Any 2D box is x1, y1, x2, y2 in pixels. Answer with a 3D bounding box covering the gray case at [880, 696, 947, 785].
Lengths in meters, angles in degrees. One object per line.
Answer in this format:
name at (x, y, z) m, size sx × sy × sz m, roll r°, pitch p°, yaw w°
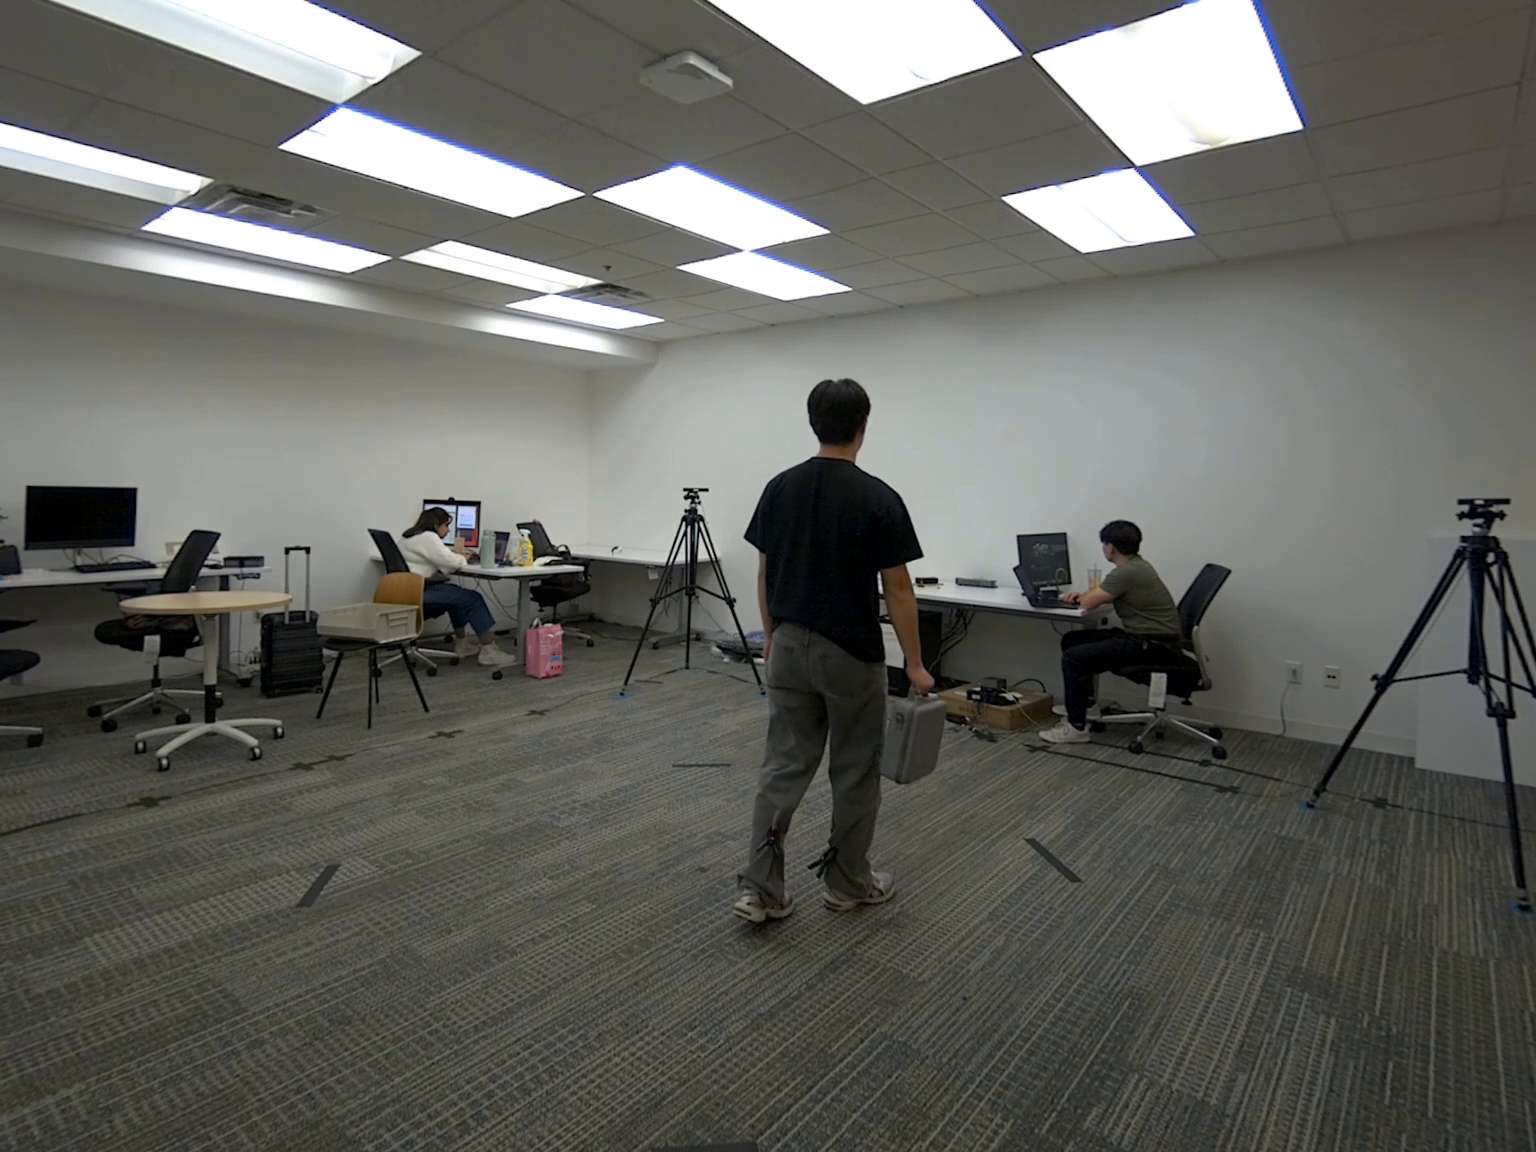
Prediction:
gray case at (0.454, 0.499, 2.719) m, size 0.106 × 0.286 × 0.255 m, roll 11°, pitch 3°, yaw 34°
